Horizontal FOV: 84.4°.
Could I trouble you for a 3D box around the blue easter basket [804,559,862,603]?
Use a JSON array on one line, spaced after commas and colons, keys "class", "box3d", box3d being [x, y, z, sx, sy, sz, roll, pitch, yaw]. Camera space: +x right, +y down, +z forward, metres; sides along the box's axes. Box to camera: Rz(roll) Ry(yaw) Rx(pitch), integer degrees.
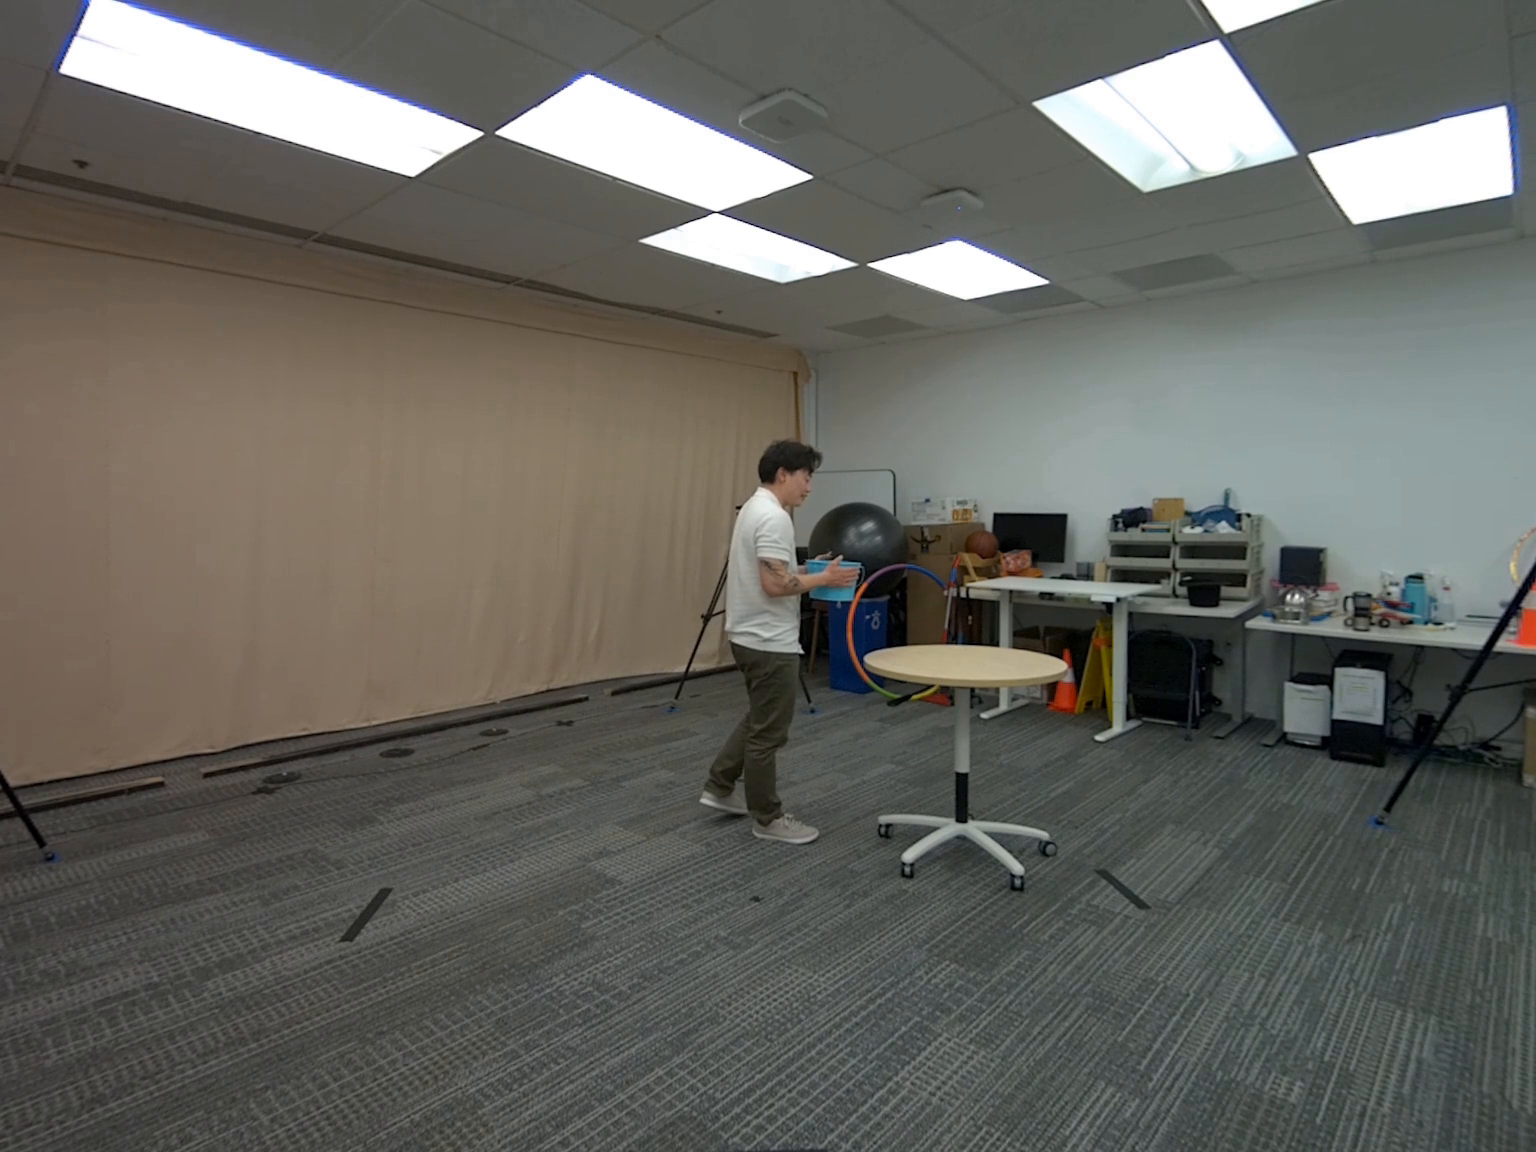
[{"class": "blue easter basket", "box3d": [0.271, 0.021, 3.496, 0.243, 0.155, 0.244, 3, 4, -2]}]
